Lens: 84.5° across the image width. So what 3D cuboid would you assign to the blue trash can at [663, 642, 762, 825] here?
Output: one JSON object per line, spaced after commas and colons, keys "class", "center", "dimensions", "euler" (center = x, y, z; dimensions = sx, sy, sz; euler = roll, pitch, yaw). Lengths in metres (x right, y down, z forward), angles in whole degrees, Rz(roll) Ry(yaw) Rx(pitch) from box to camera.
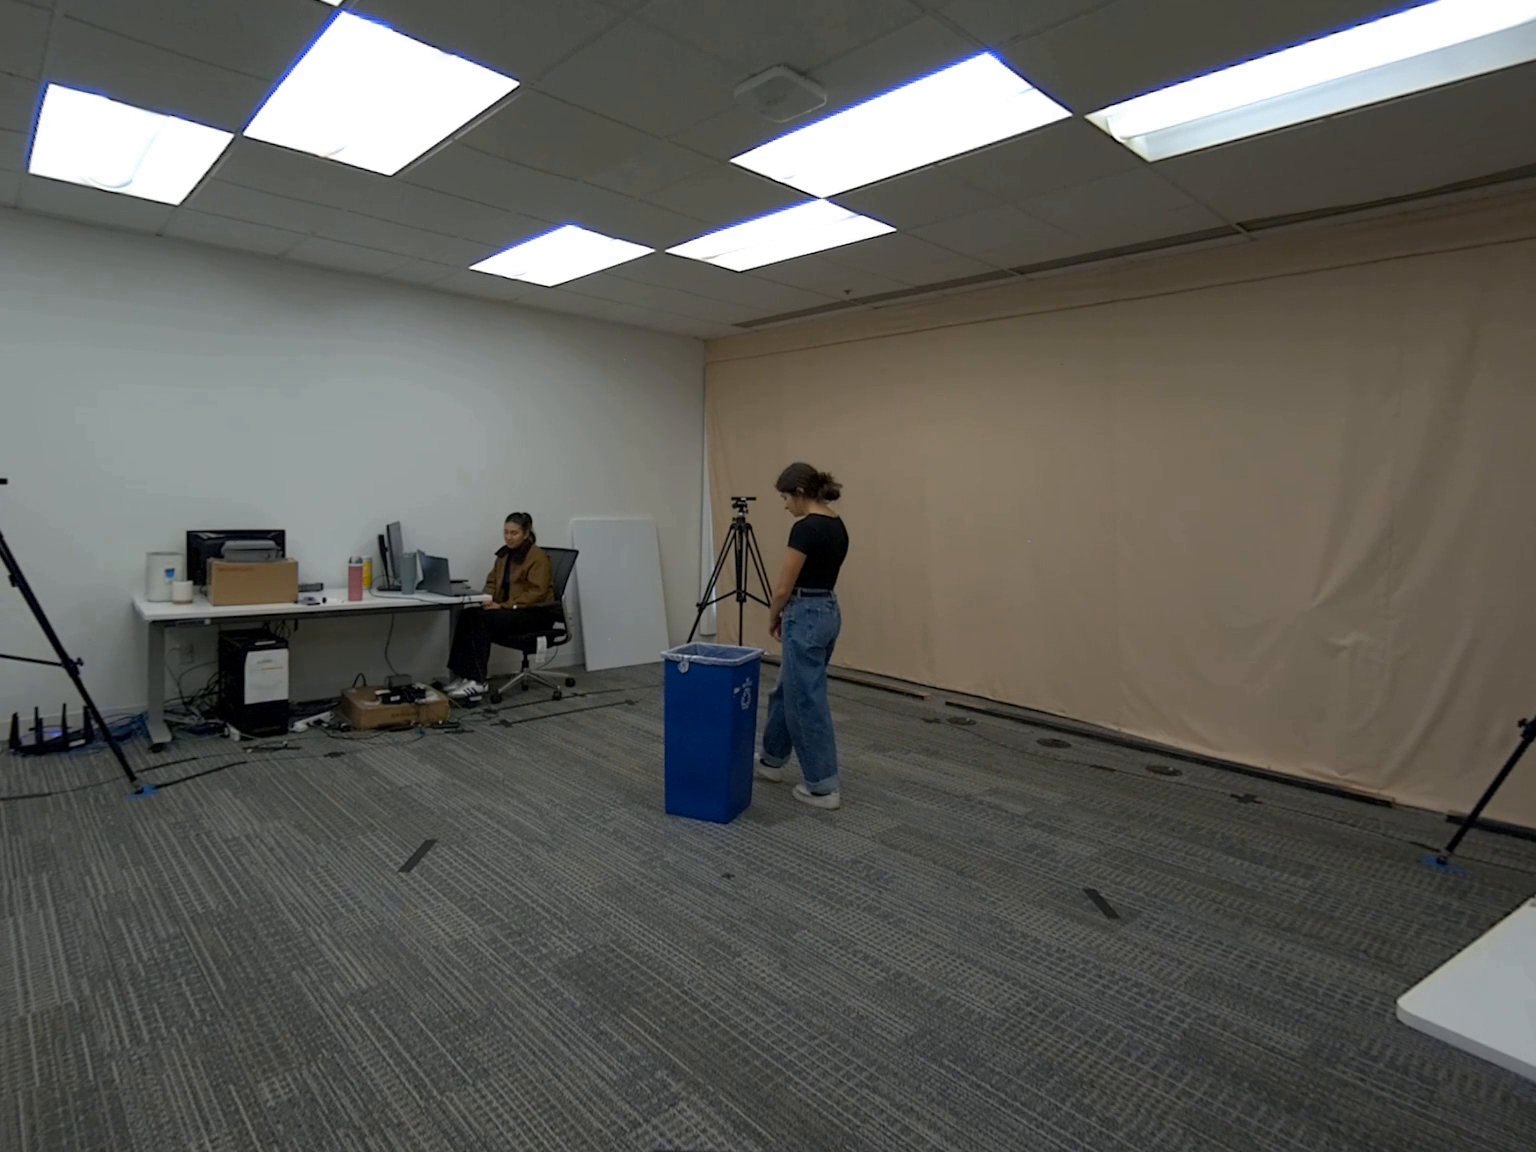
{"class": "blue trash can", "center": [-0.265, 0.688, 3.779], "dimensions": [0.384, 0.712, 0.368], "euler": [3, 4, 21]}
